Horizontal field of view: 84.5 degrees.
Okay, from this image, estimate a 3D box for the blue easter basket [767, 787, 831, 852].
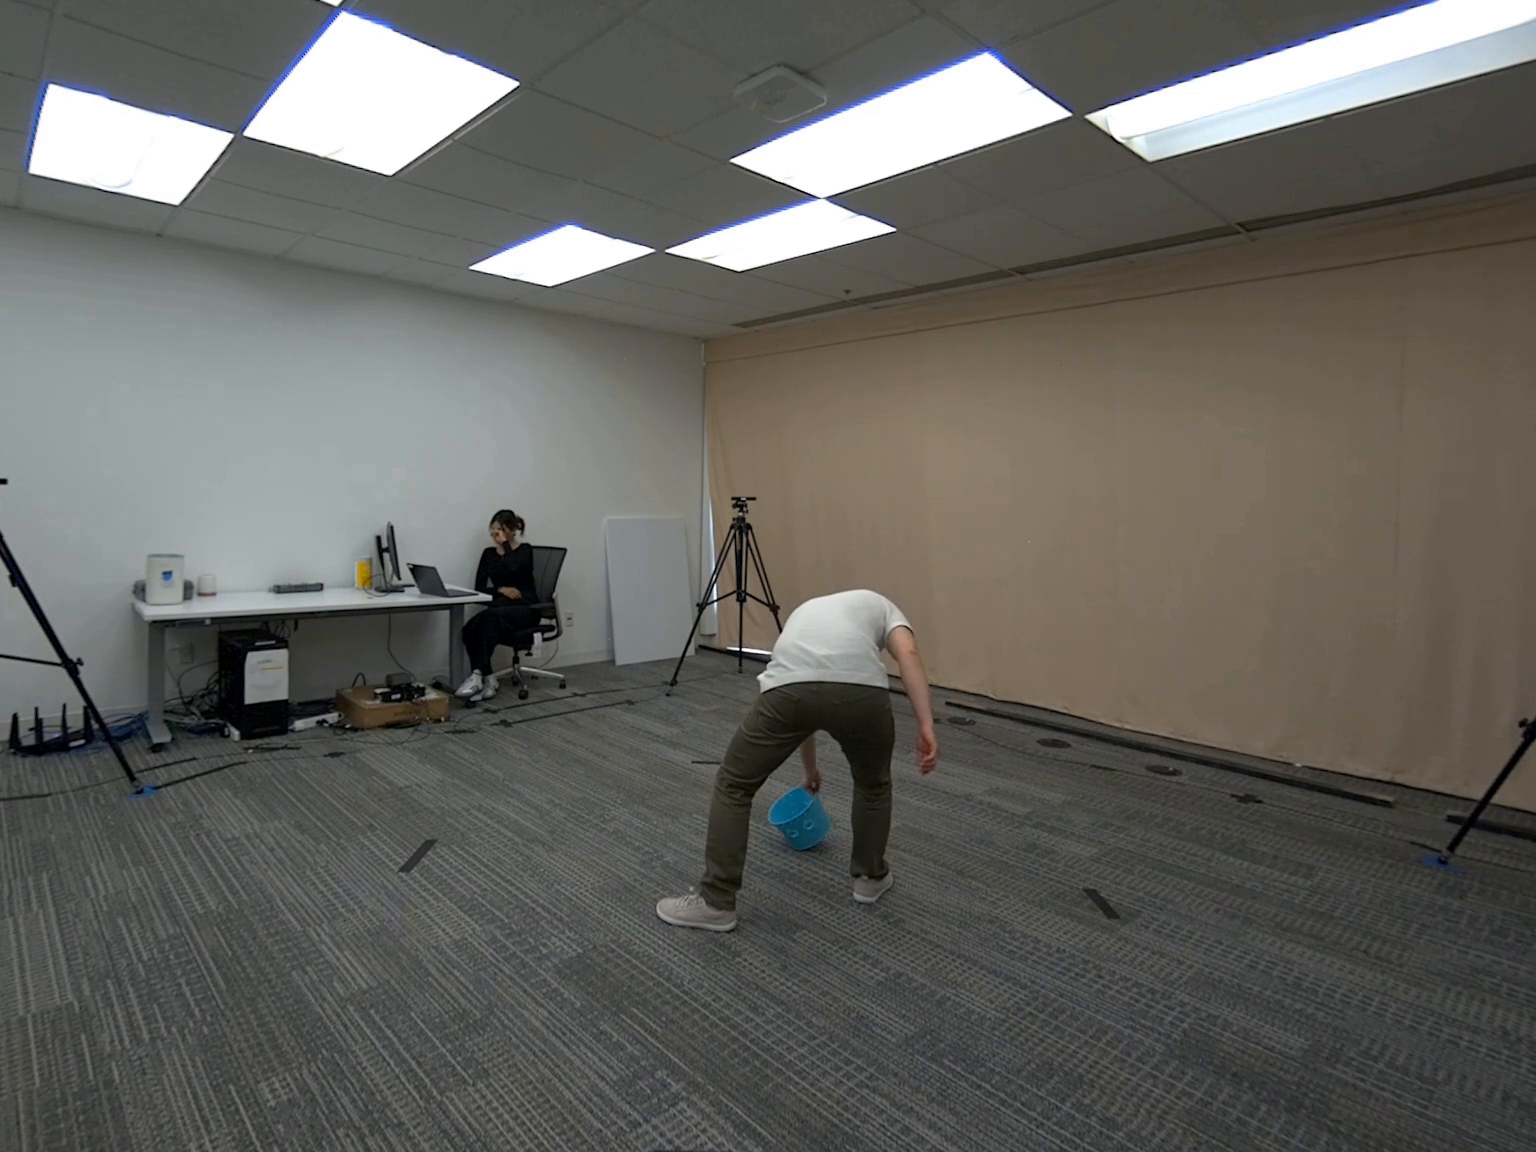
[{"bbox_3d":[0.116,0.978,3.373,0.244,0.154,0.245,-31,9,4],"label":"blue easter basket"}]
